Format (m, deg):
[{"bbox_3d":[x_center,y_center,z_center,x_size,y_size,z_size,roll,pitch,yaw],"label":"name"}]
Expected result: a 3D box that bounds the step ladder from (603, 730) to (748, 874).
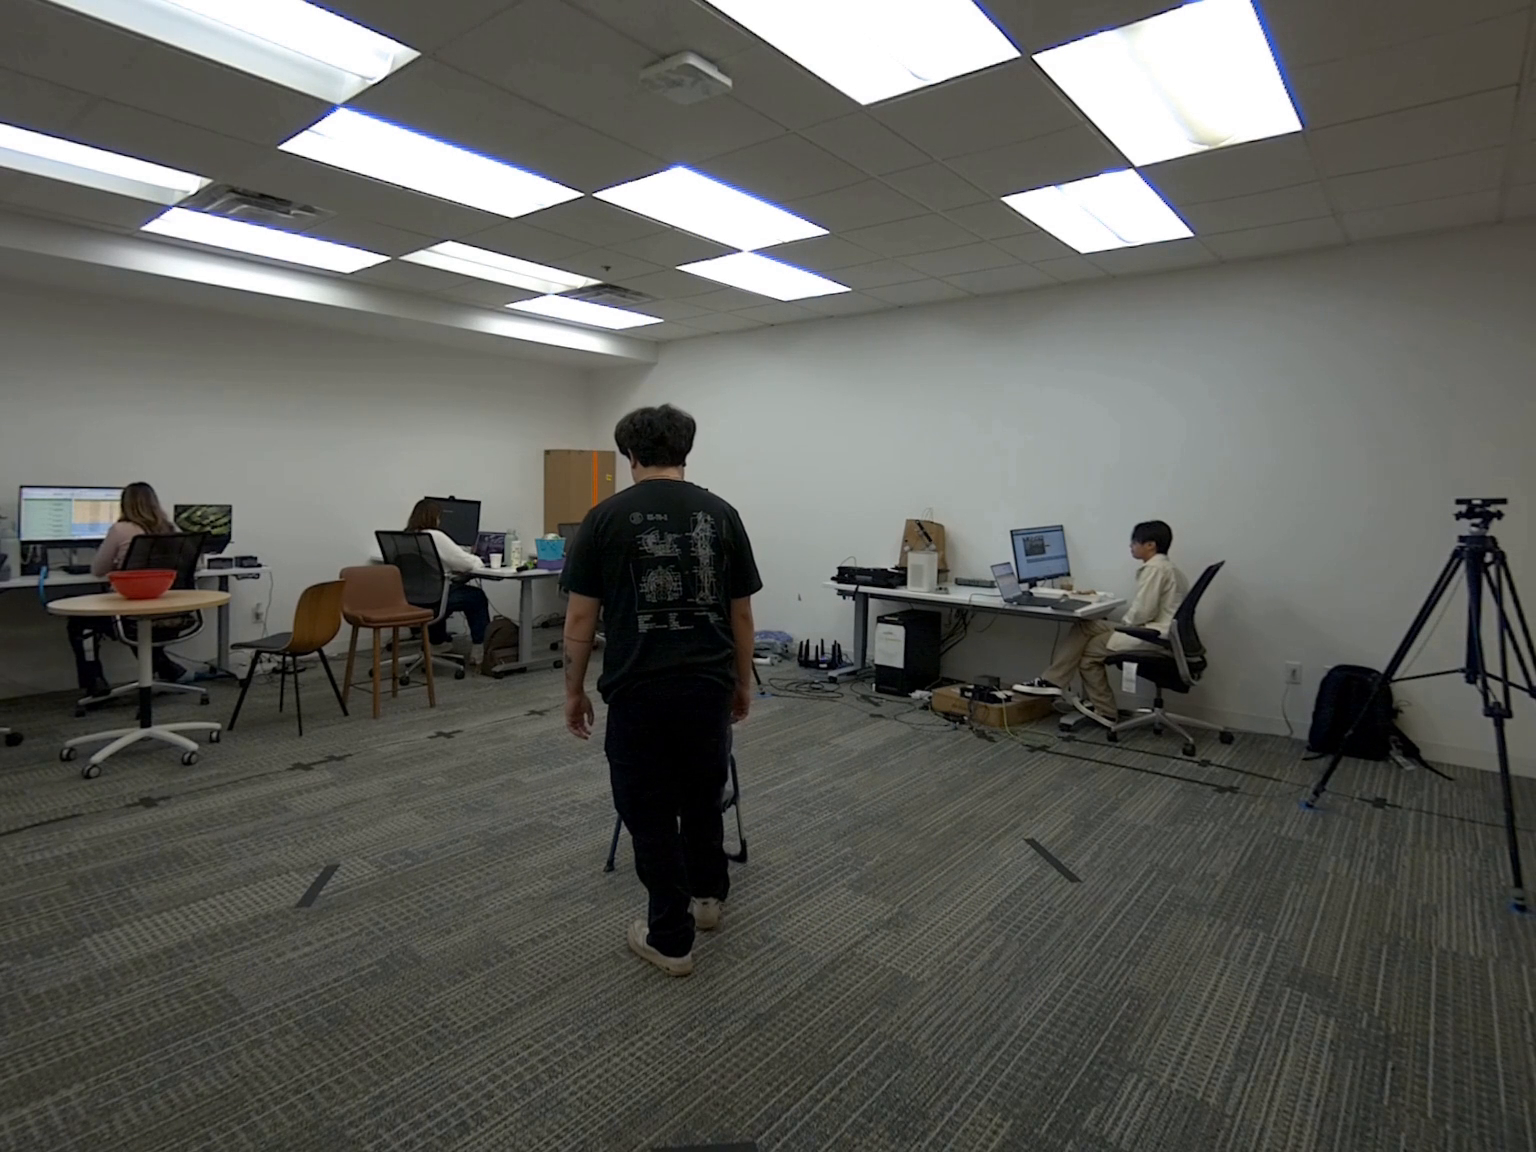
[{"bbox_3d":[-0.336,0.758,3.126,0.442,0.604,0.341,3,4,26],"label":"step ladder"}]
